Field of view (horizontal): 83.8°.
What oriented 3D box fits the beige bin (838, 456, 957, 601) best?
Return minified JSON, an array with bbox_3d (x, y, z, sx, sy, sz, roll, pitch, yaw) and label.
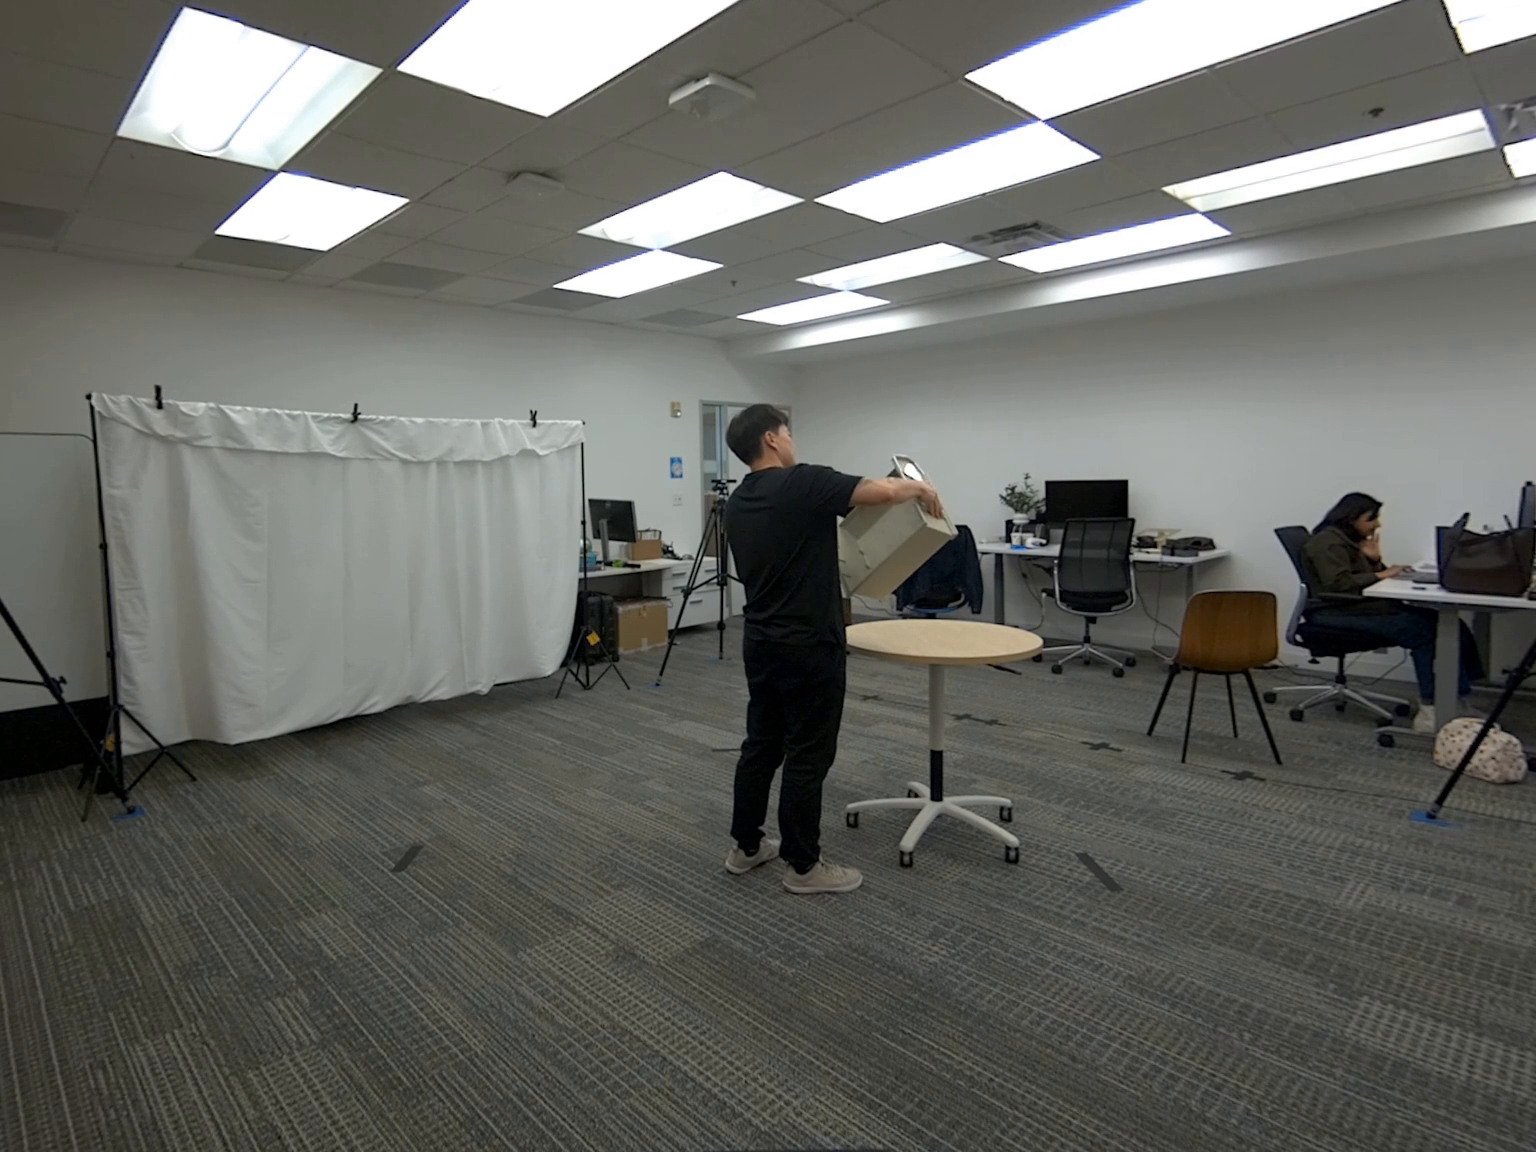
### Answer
[{"bbox_3d":[0.433,-0.174,3.139,0.183,0.390,0.422,15,-48,-37],"label":"beige bin"}]
